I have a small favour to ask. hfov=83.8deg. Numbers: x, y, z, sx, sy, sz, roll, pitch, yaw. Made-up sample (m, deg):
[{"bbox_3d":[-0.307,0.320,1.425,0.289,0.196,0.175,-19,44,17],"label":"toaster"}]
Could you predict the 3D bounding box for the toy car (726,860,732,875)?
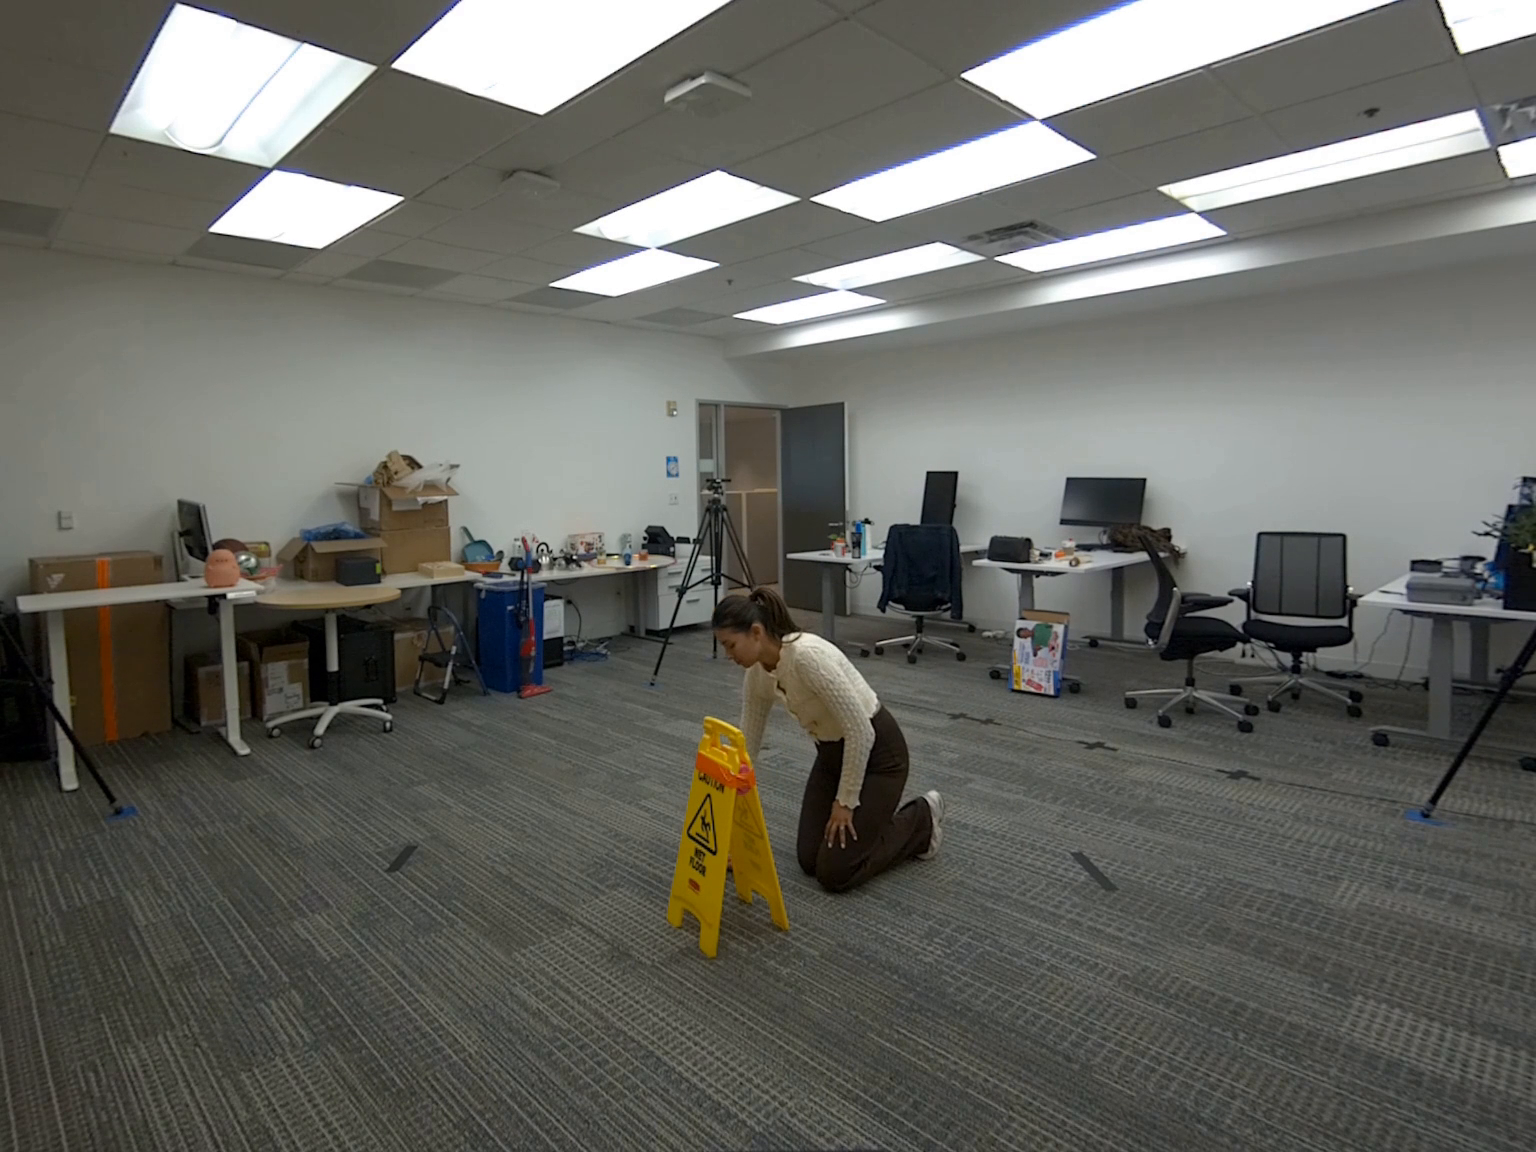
[{"bbox_3d":[-0.129,1.018,3.082,0.262,0.082,0.128,12,12,27],"label":"toy car"}]
